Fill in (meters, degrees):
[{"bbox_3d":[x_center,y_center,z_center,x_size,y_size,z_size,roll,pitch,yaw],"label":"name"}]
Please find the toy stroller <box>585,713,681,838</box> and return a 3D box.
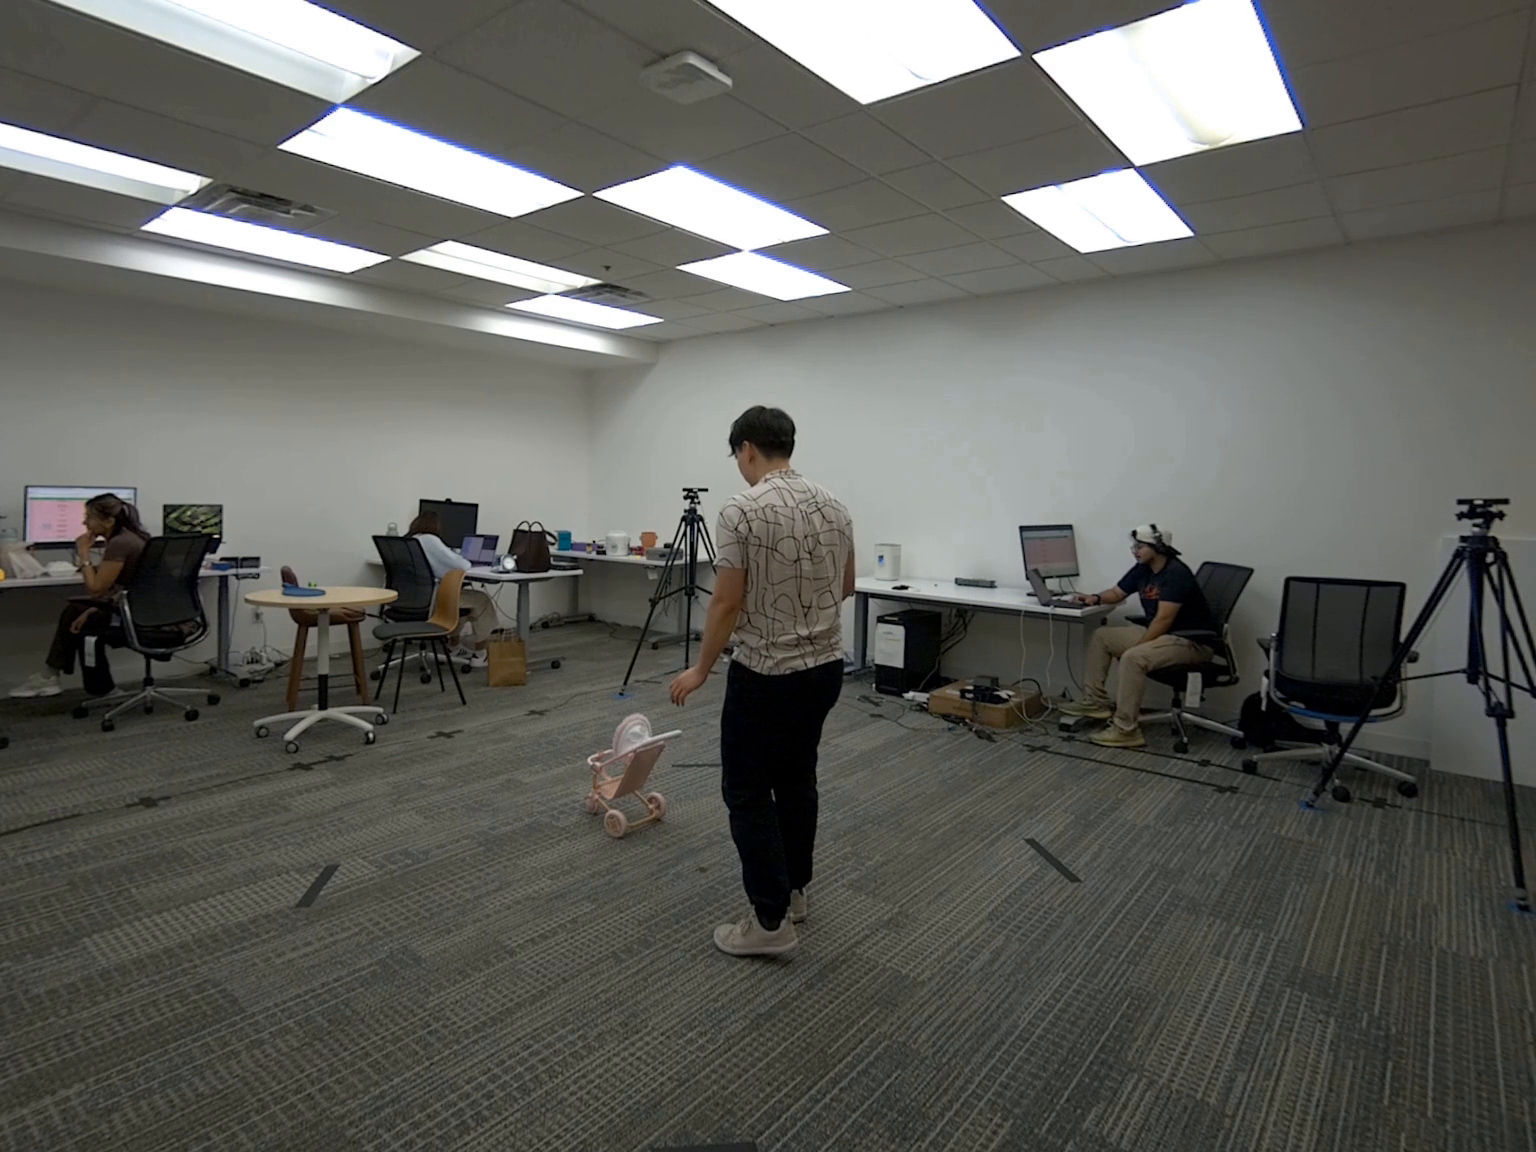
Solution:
[{"bbox_3d":[-0.594,0.801,3.510,0.355,0.530,0.273,26,17,36],"label":"toy stroller"}]
